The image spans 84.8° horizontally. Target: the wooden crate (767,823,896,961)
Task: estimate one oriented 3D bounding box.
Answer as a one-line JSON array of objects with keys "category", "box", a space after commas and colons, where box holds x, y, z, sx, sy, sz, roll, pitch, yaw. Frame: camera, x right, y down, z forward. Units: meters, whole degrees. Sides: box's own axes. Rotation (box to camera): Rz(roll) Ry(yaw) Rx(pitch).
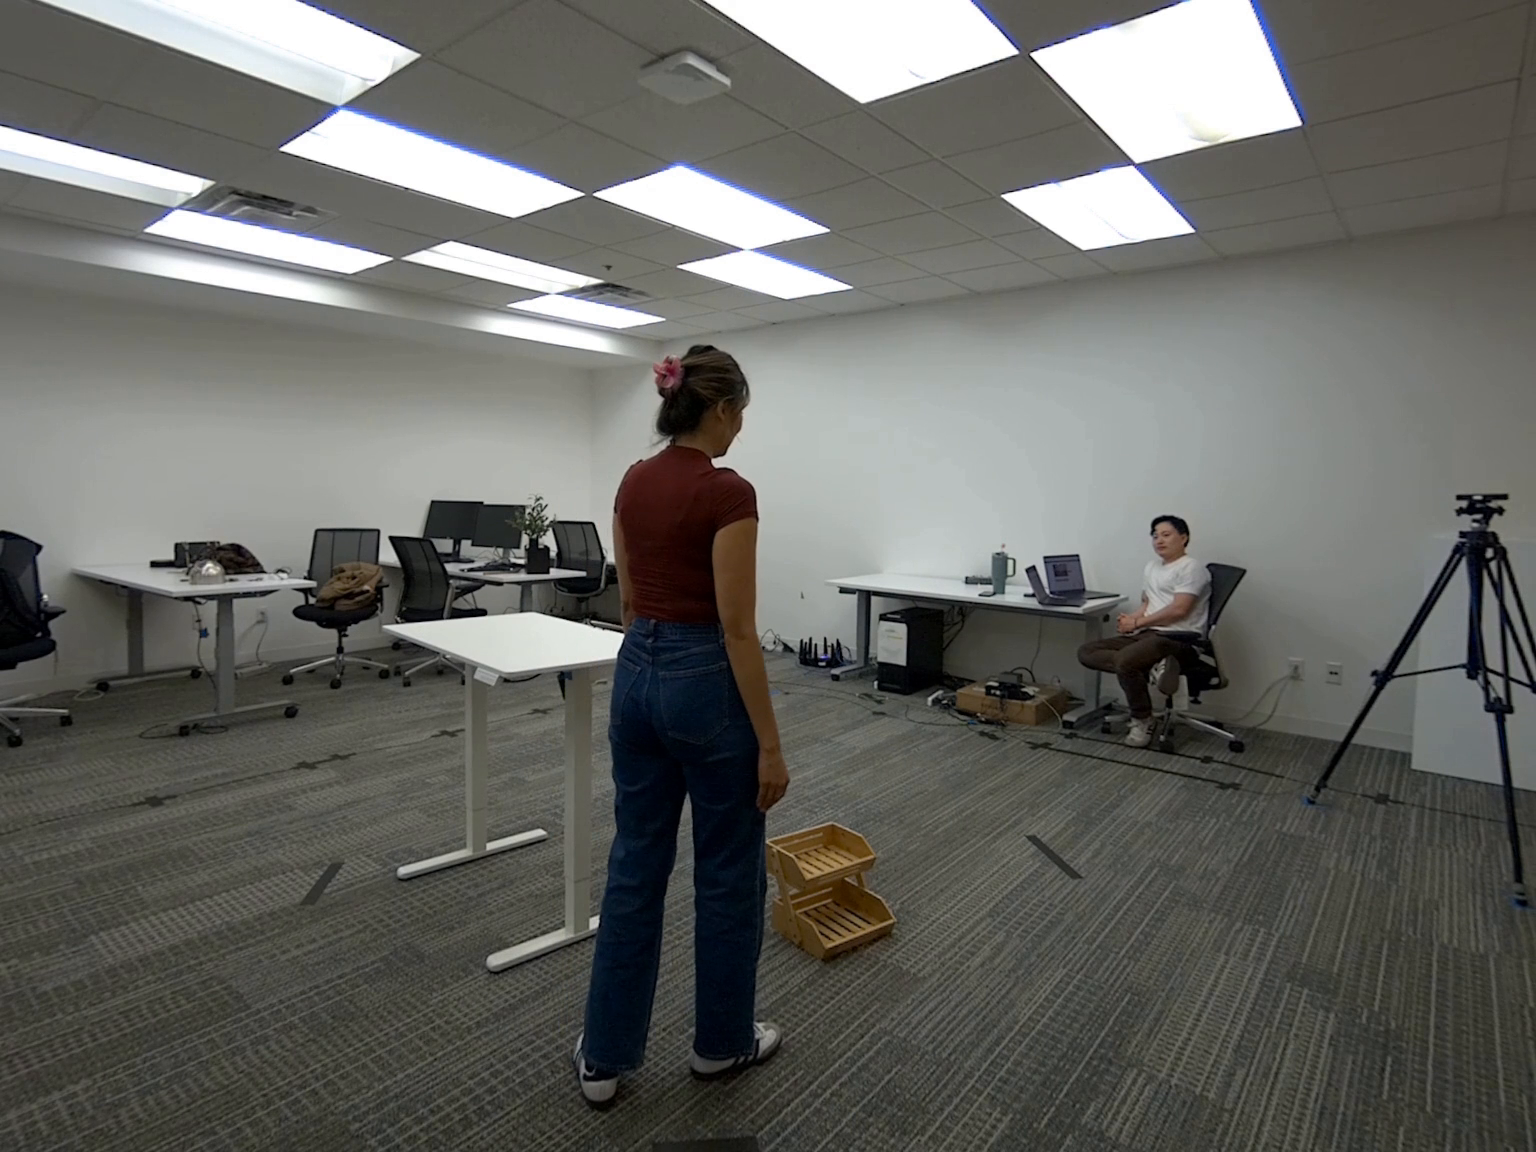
[{"category": "wooden crate", "box": [0.190, 0.978, 2.692, 0.315, 0.272, 0.312, -2, 5, -37]}]
